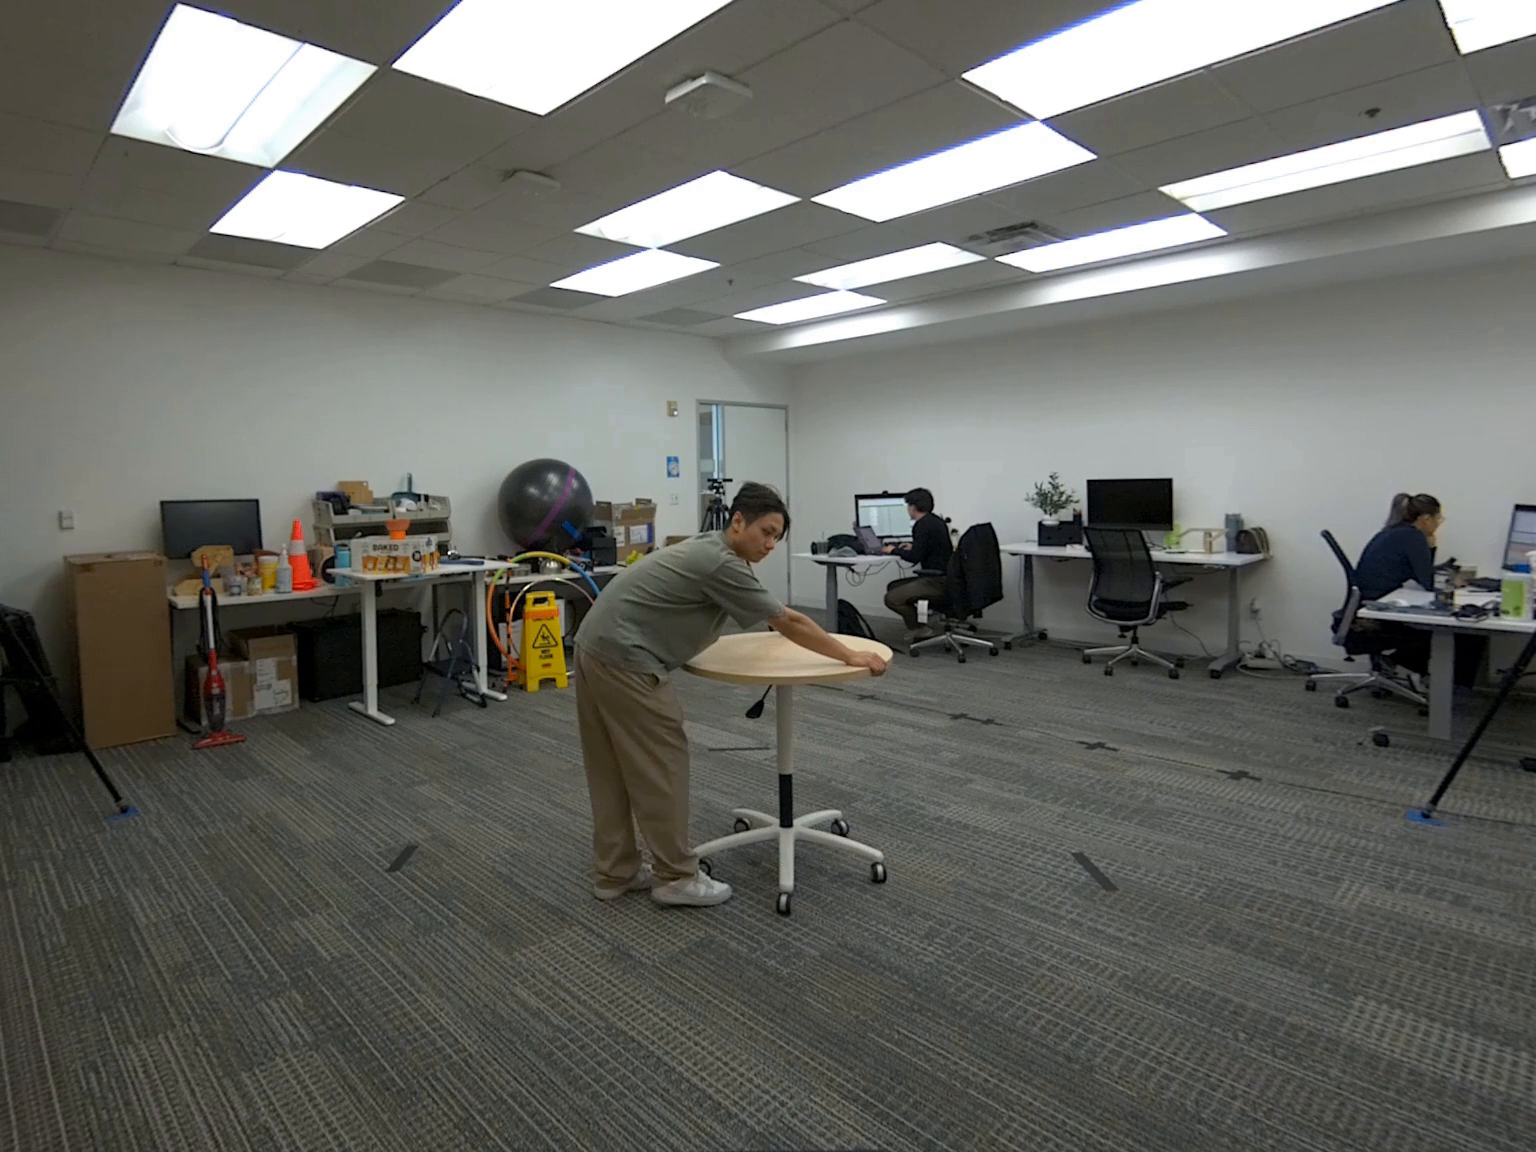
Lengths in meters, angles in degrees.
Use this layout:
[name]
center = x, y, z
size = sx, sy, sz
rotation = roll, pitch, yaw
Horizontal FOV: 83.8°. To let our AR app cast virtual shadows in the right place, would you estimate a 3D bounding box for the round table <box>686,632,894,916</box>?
[round table]
center = 0.067, 0.654, 3.091
size = 0.784, 0.783, 0.790
rotation = -1, 6, -2
